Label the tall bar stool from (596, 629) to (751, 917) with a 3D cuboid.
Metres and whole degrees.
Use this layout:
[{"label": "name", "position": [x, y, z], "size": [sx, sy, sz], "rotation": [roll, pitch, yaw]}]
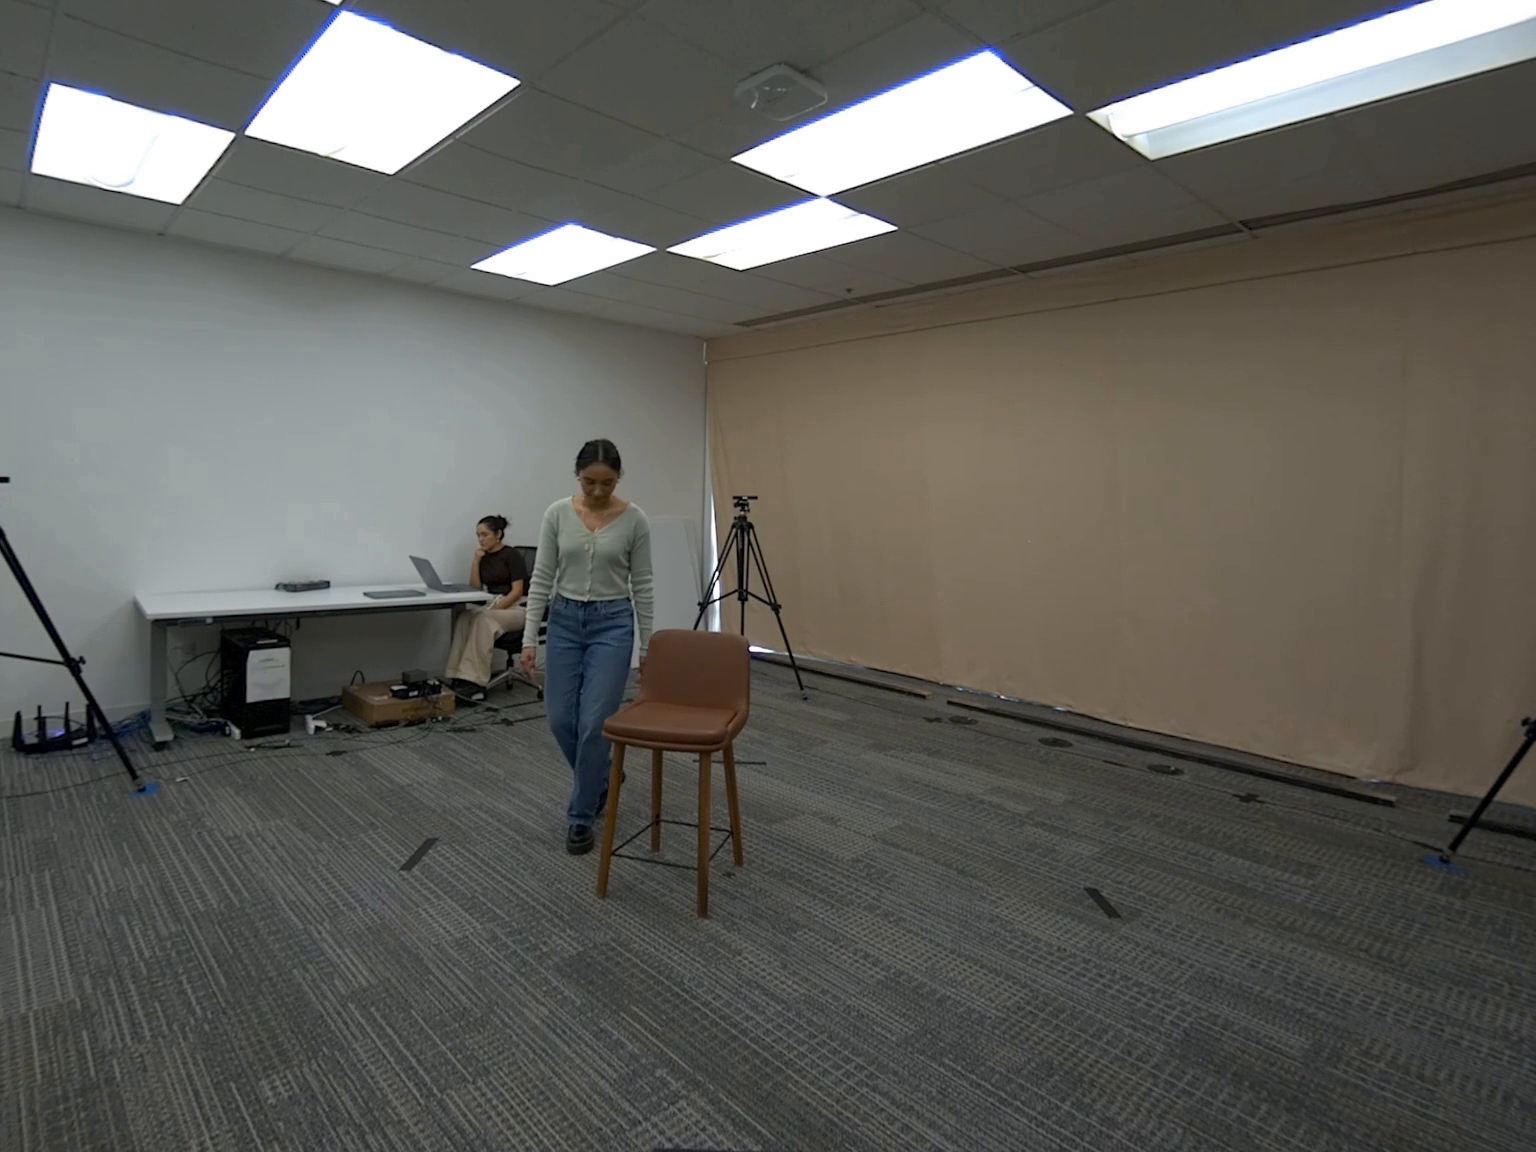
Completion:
[{"label": "tall bar stool", "position": [-0.330, 0.671, 3.027], "size": [0.464, 0.888, 0.461], "rotation": [3, 2, 20]}]
